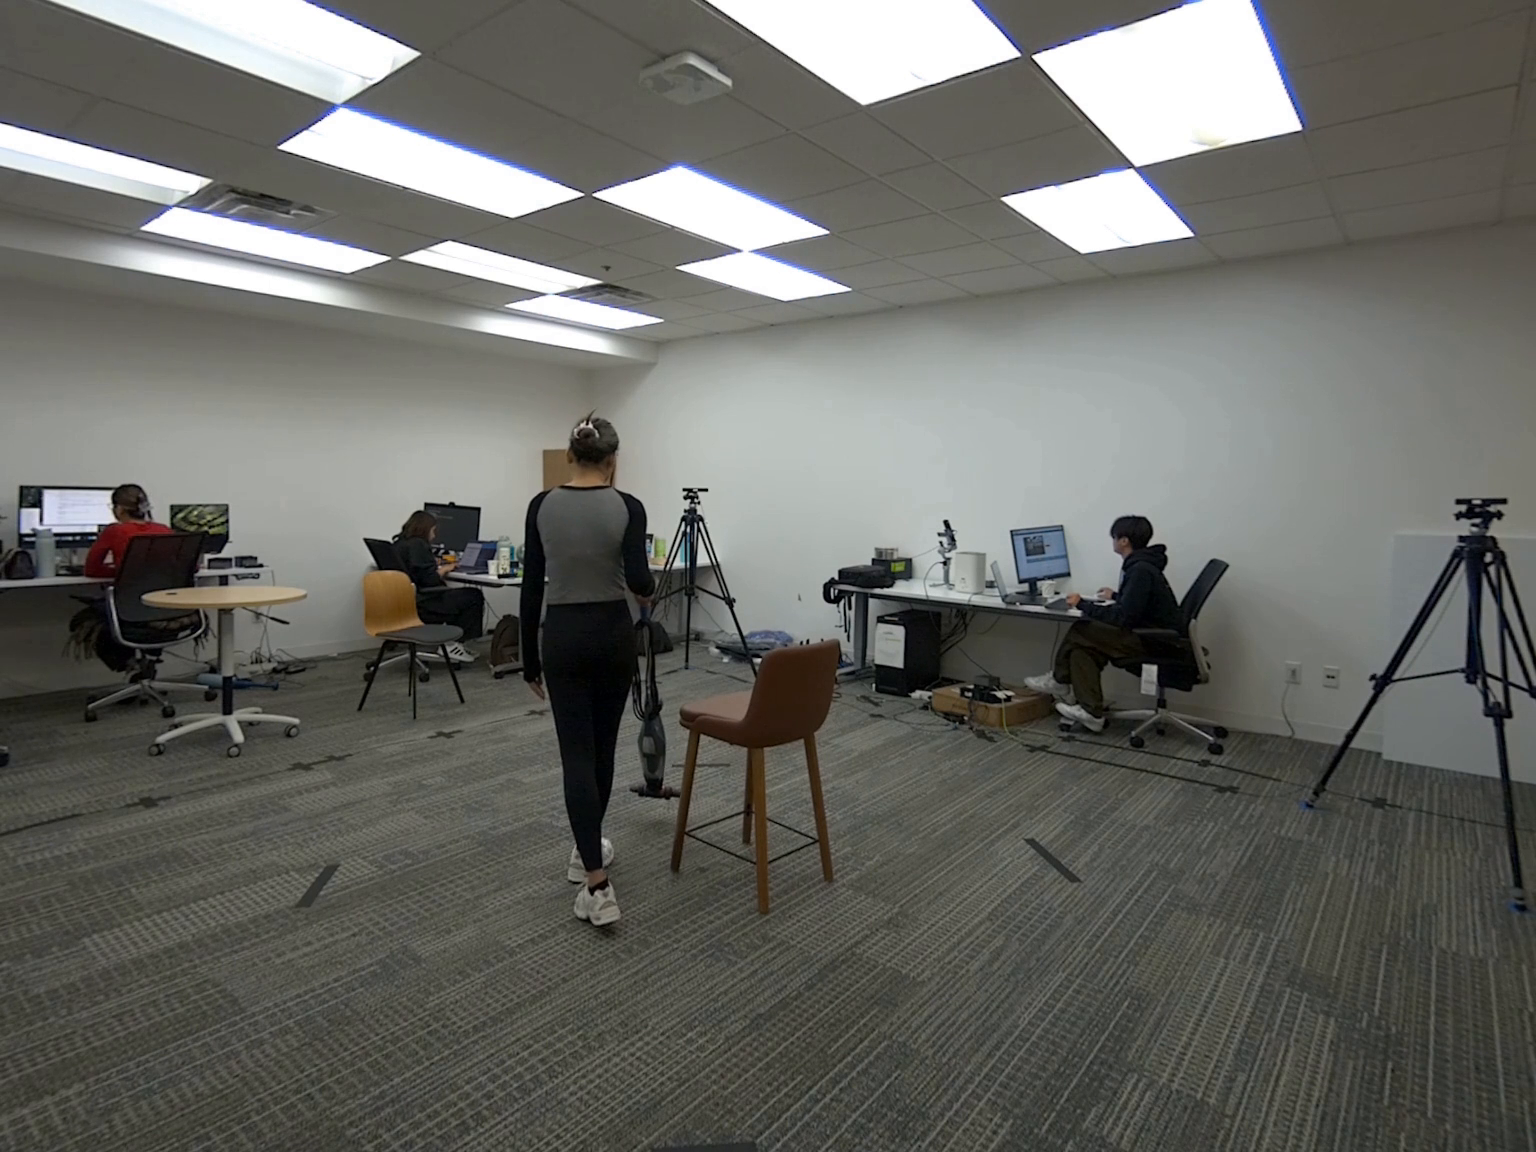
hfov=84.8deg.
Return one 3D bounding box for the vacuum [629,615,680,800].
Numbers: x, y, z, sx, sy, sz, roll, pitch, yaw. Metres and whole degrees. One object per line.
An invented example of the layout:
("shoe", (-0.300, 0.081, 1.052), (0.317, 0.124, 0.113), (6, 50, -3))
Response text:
("vacuum", (-0.470, 0.464, 3.269), (0.254, 1.023, 0.147), (3, 31, 3))
